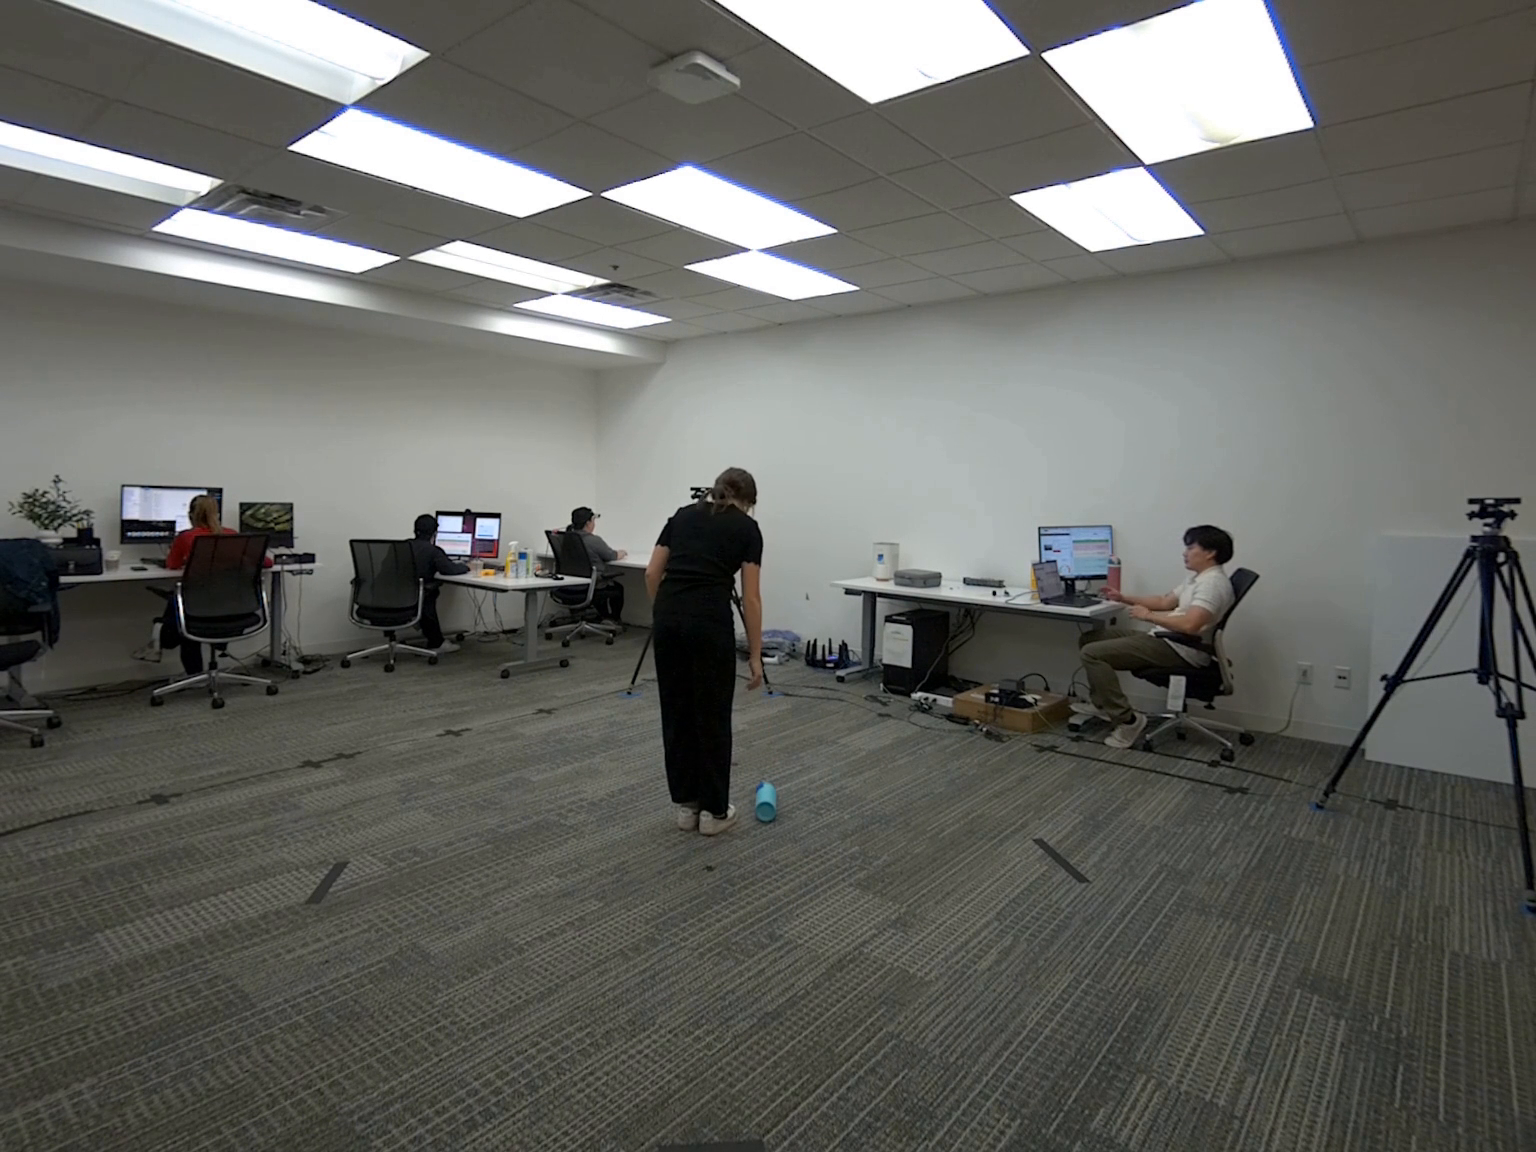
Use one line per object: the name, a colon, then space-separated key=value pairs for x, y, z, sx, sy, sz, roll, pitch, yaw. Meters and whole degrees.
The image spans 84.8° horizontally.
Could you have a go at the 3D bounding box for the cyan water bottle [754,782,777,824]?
cyan water bottle: x=-0.016 y=0.968 z=3.697 sx=0.092 sy=0.092 sz=0.284 roll=1 pitch=6 yaw=1
